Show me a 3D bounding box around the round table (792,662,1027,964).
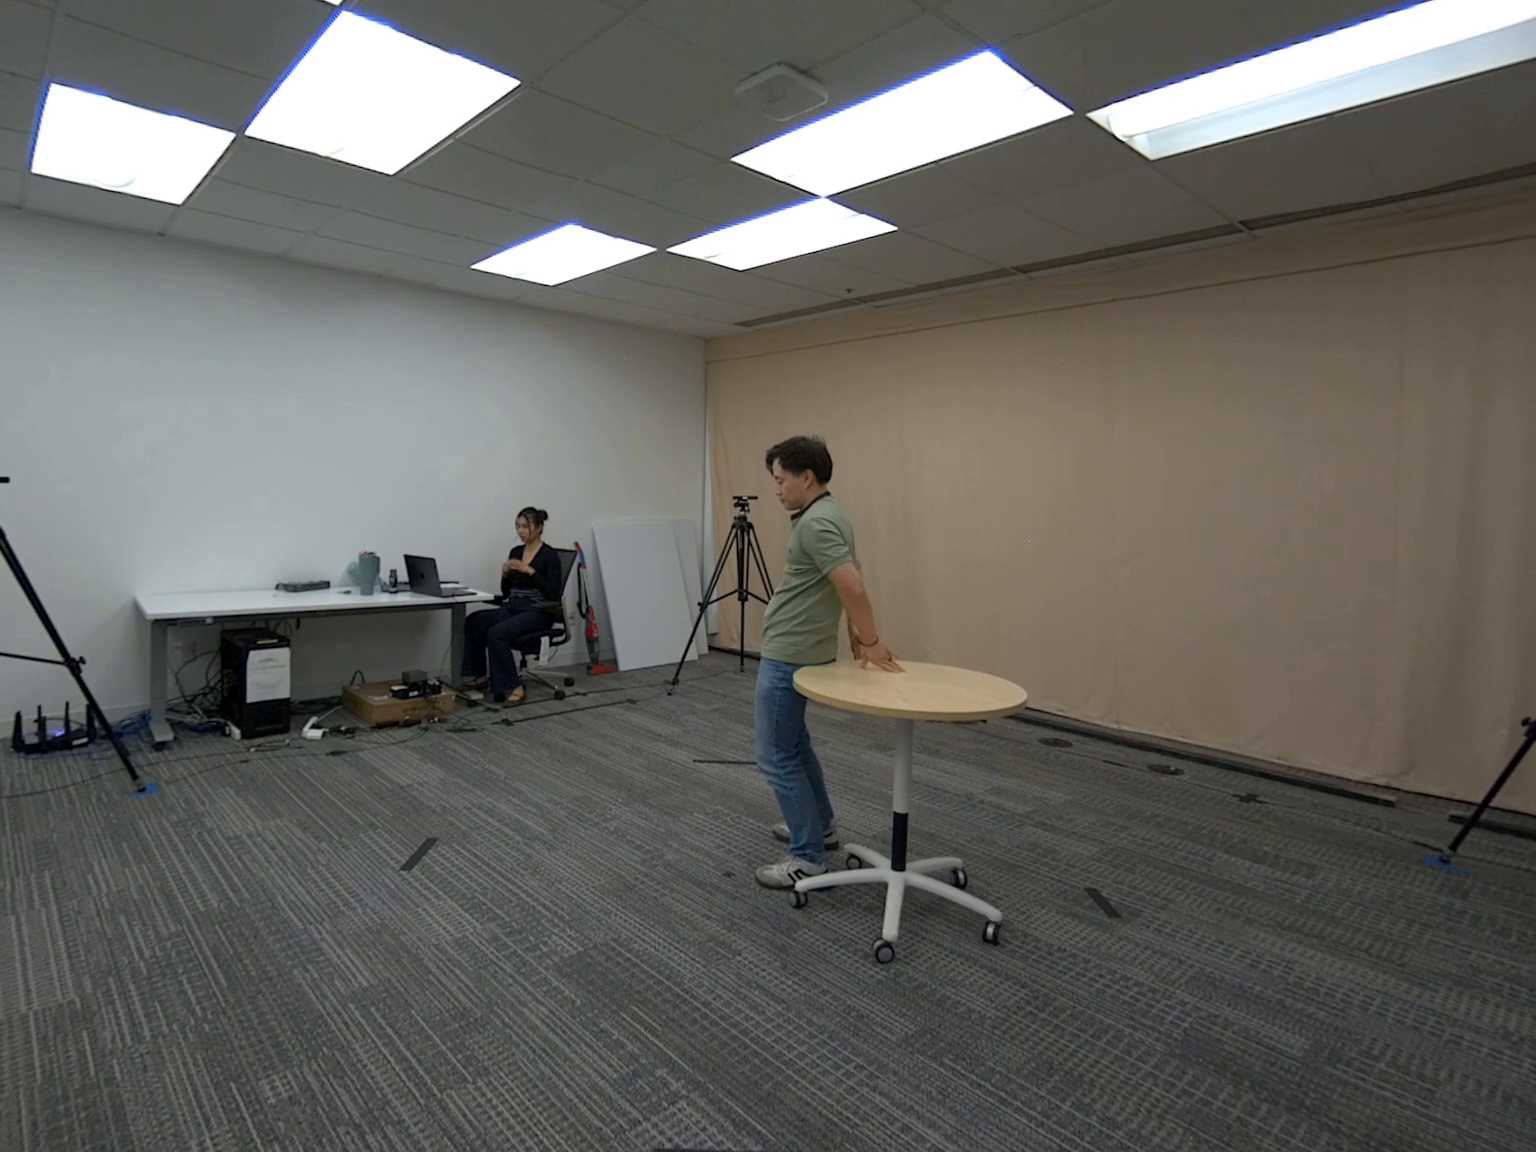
[{"bbox_3d":[0.448,0.751,2.849,0.763,0.792,0.767,2,4,-2],"label":"round table"}]
